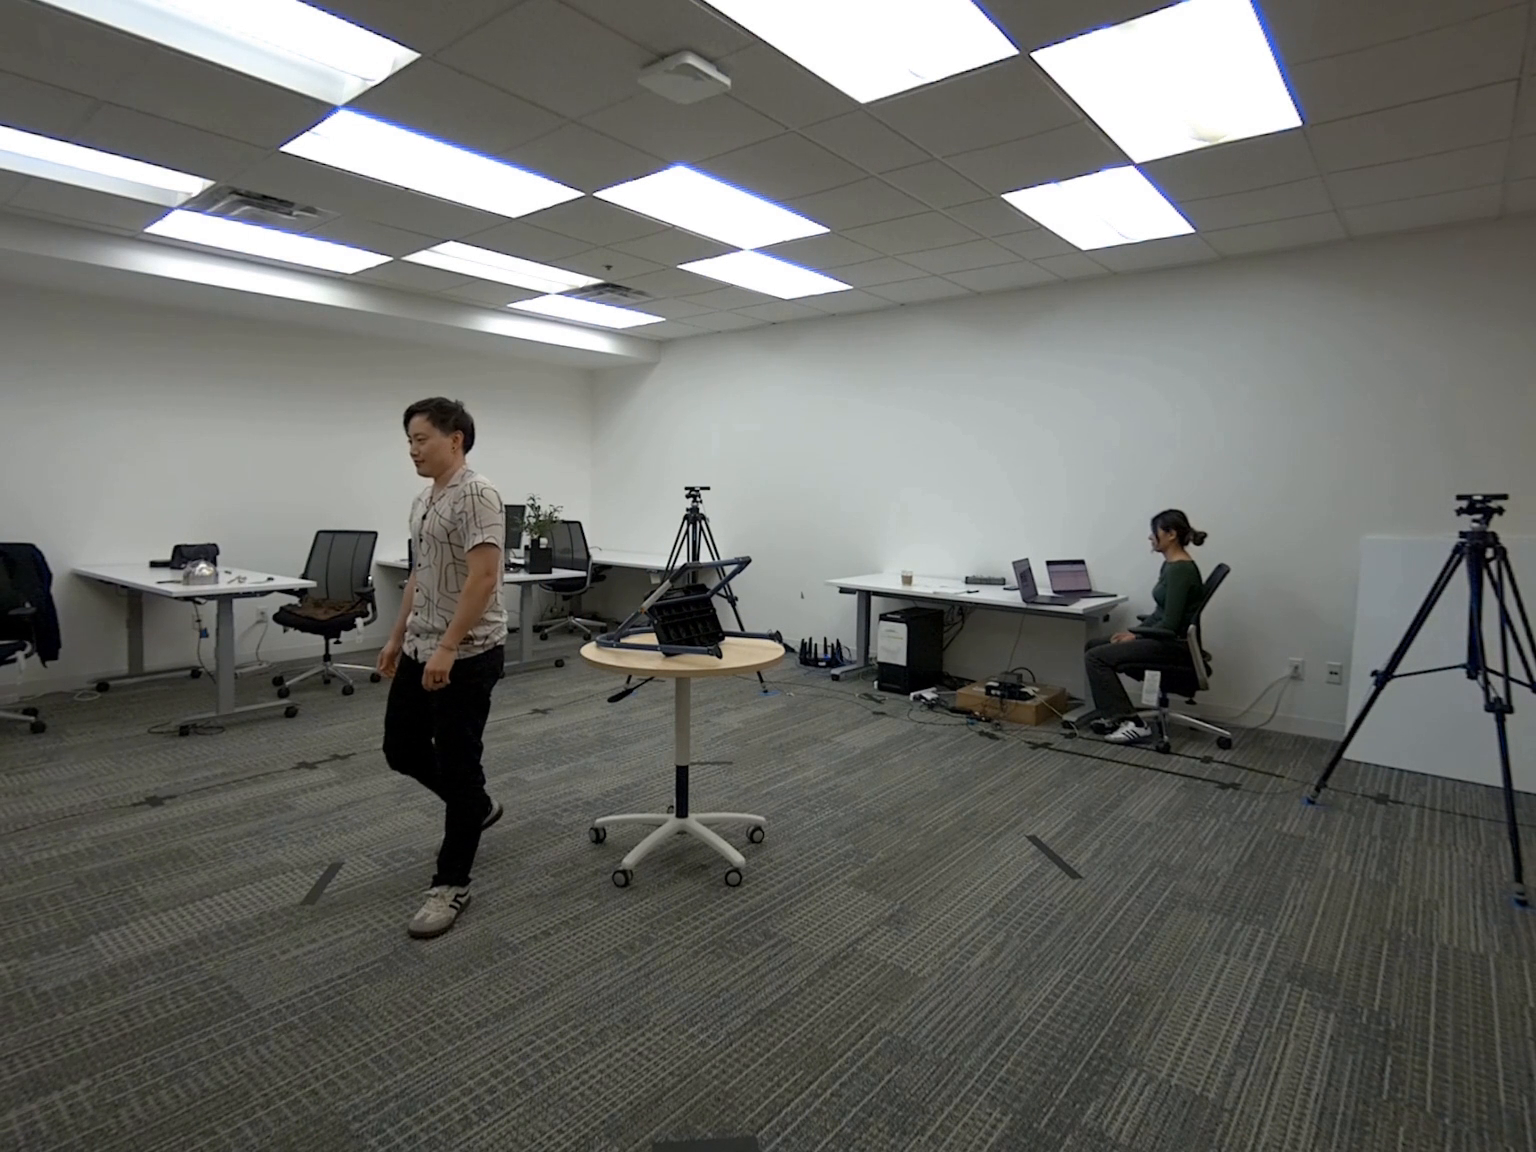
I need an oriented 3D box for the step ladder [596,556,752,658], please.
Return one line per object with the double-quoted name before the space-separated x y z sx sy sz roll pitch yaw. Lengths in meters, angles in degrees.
"step ladder" -0.358 0.205 3.220 0.615 0.354 0.419 -25 -11 32
